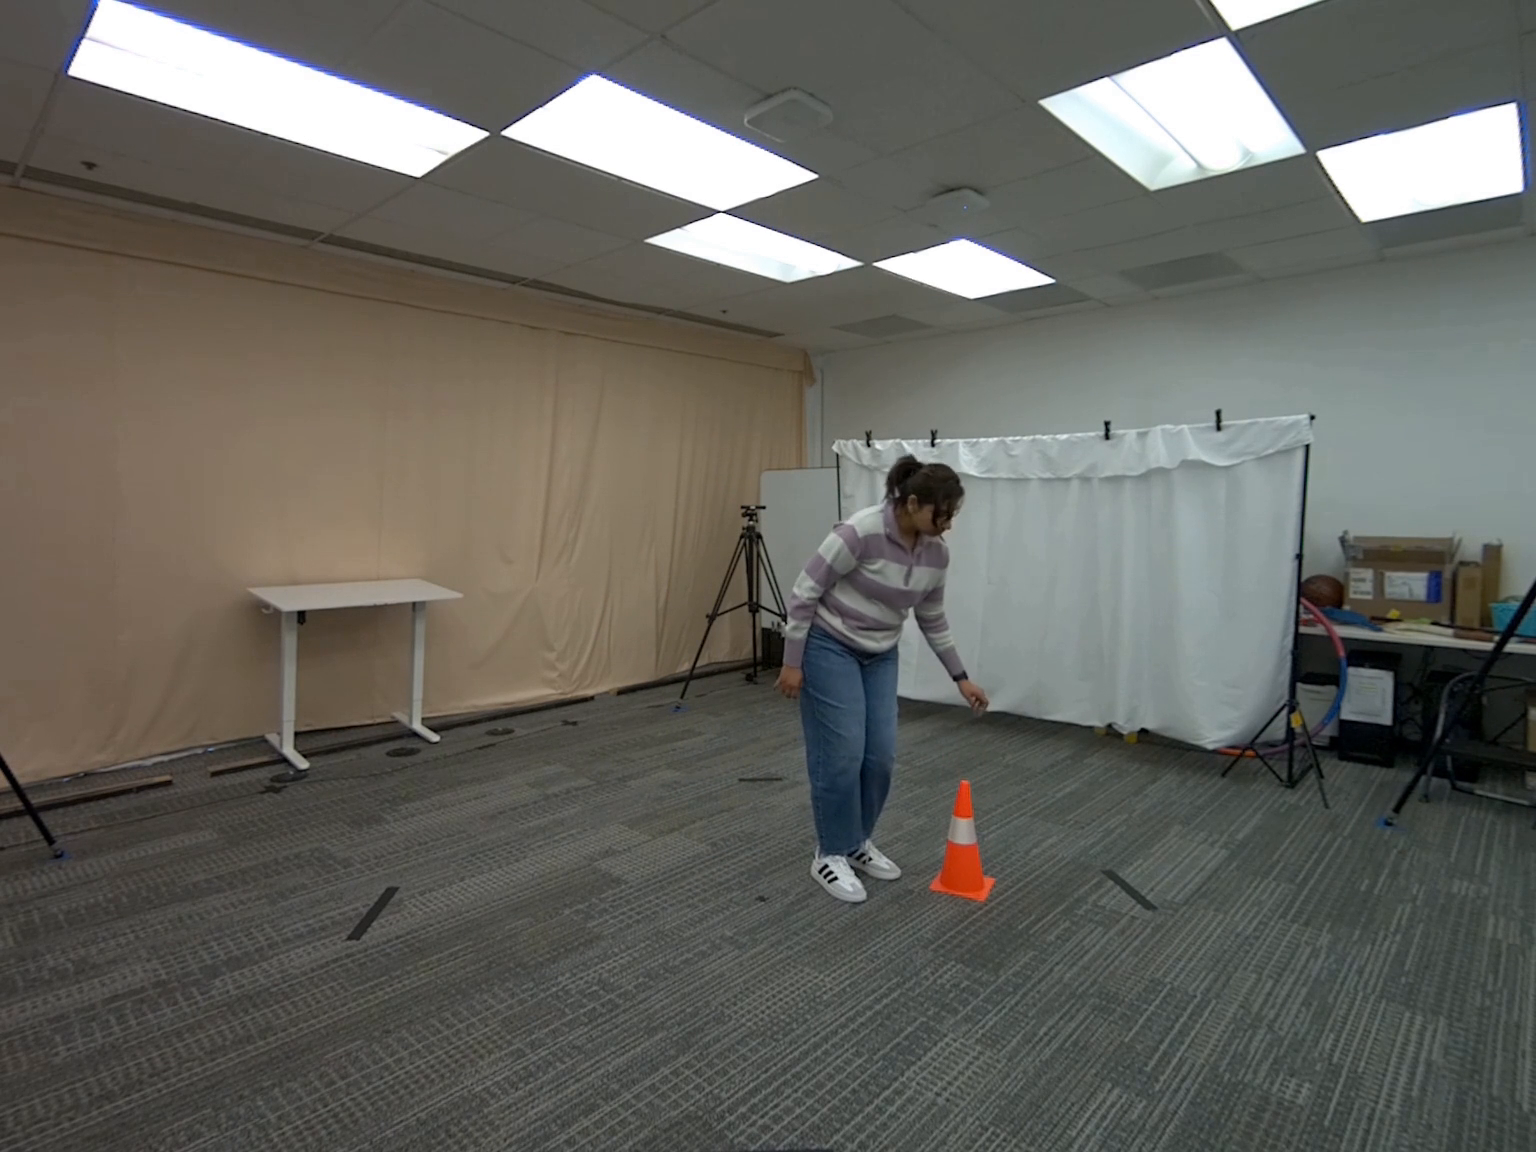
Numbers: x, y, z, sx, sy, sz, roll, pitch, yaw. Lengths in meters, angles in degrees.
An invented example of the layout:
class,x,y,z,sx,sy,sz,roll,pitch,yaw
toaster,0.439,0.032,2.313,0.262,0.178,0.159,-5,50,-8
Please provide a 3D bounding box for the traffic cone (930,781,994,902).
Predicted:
class,x,y,z,sx,sy,sz,roll,pitch,yaw
traffic cone,0.718,0.951,3.088,0.211,0.383,0.198,1,2,30
